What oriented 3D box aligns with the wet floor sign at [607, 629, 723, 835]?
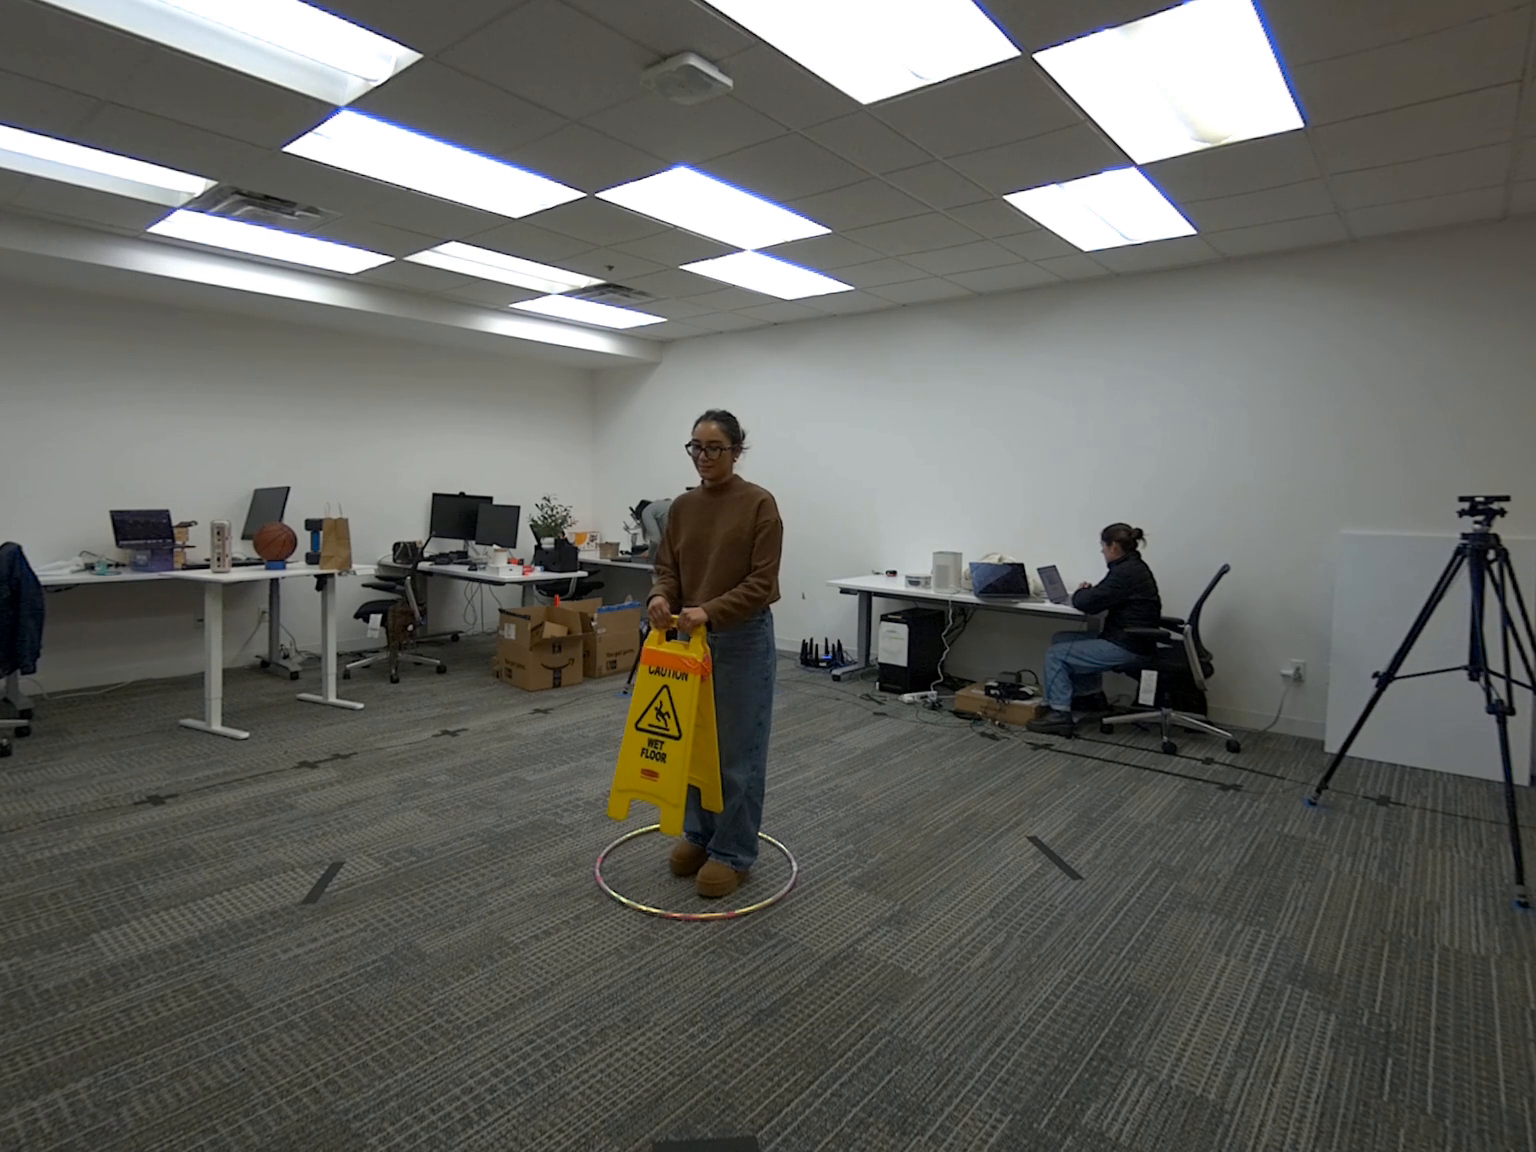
[{"bbox_3d":[-0.322,0.452,2.761,0.290,0.644,0.282,4,3,28],"label":"wet floor sign"}]
